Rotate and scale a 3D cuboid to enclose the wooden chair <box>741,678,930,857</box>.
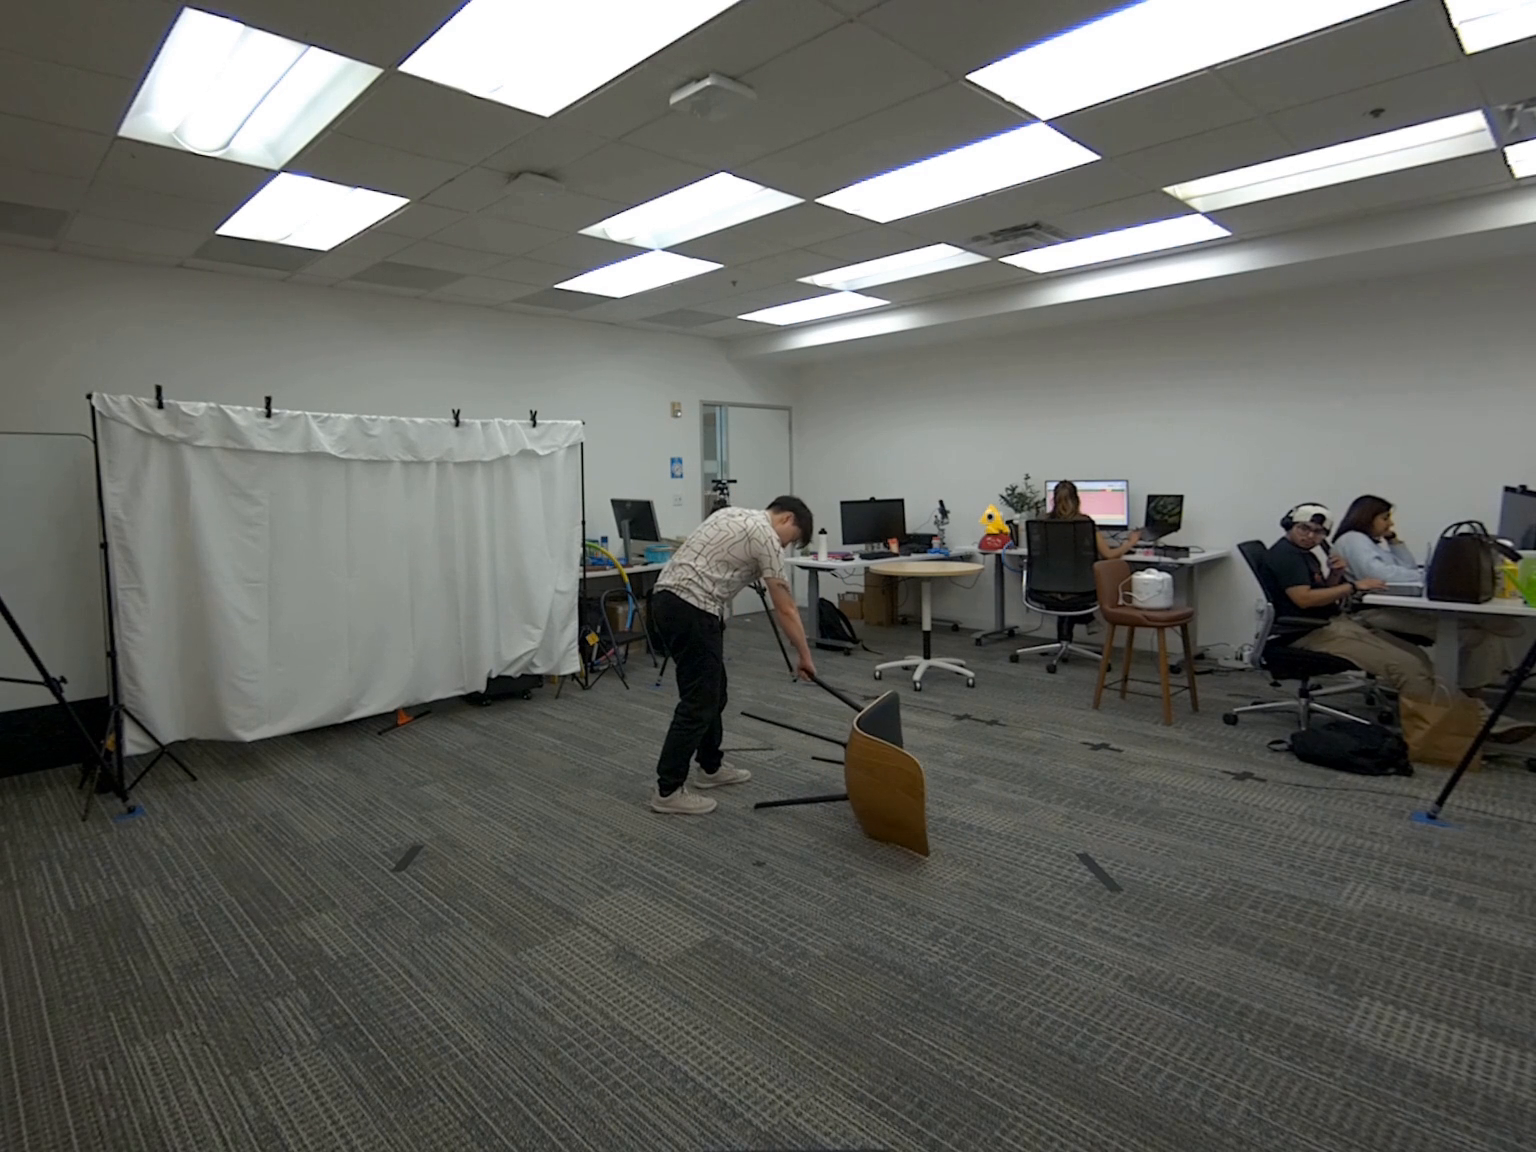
[{"bbox_3d":[0.392,0.743,3.466,0.906,0.471,0.514,8,22,42],"label":"wooden chair"}]
